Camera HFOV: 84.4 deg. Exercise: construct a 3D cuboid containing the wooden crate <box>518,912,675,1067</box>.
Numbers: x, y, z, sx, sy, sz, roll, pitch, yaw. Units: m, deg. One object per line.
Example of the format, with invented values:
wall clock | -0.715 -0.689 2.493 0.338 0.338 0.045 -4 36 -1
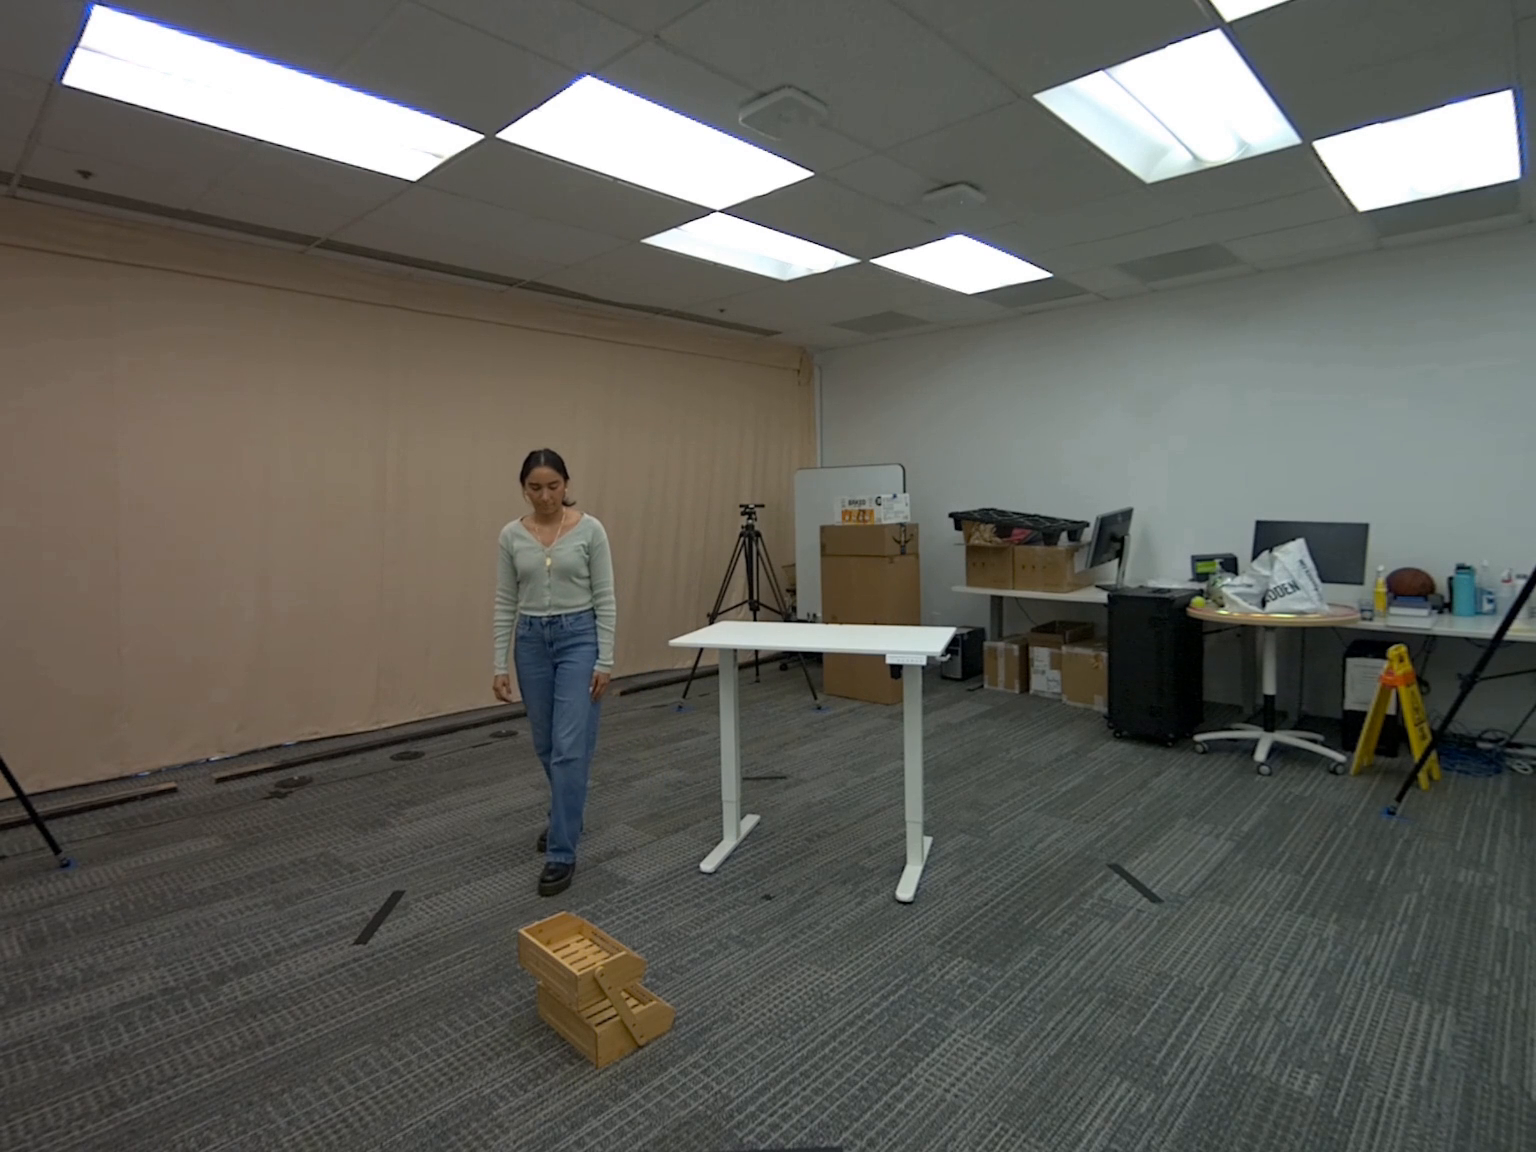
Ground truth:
wooden crate | -0.458 1.077 2.258 0.293 0.272 0.335 -6 6 -44
